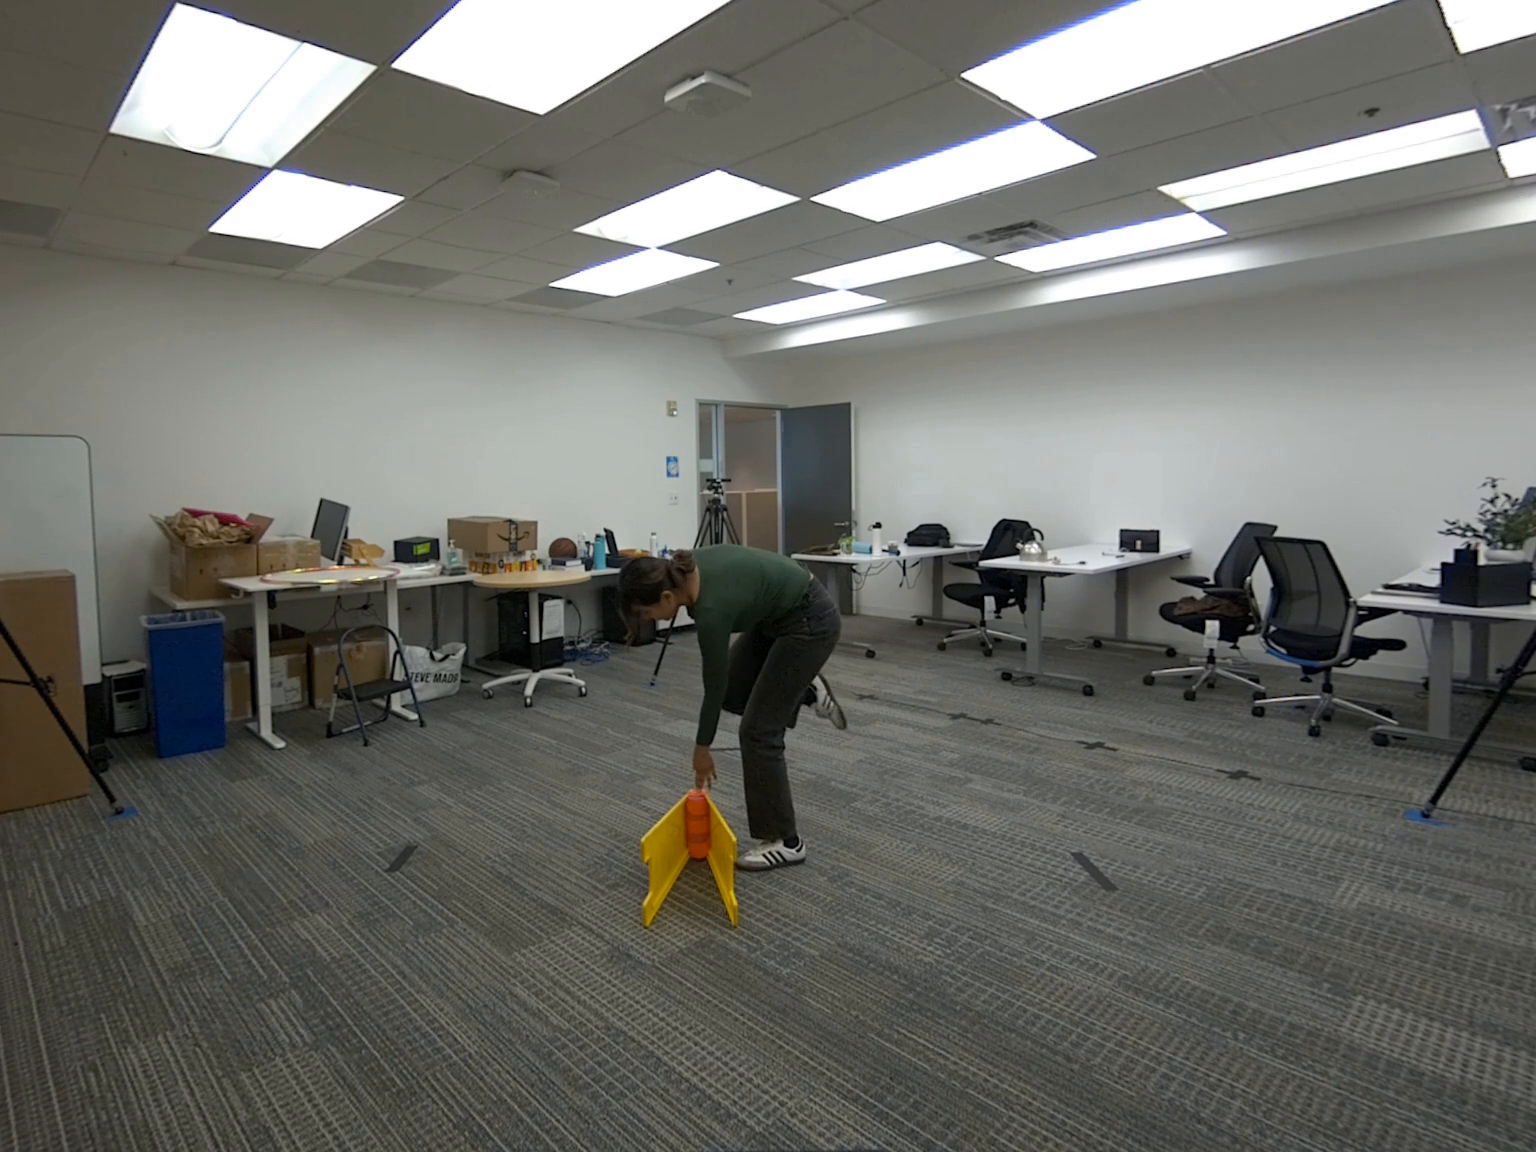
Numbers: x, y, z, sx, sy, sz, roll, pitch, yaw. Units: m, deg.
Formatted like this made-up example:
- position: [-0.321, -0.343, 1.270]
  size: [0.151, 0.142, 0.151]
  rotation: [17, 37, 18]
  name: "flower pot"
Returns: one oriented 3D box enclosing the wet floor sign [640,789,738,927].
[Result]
- position: [-0.257, 0.929, 2.986]
  size: [0.289, 0.281, 0.648]
  rotation: [-1, 4, -2]
  name: "wet floor sign"
